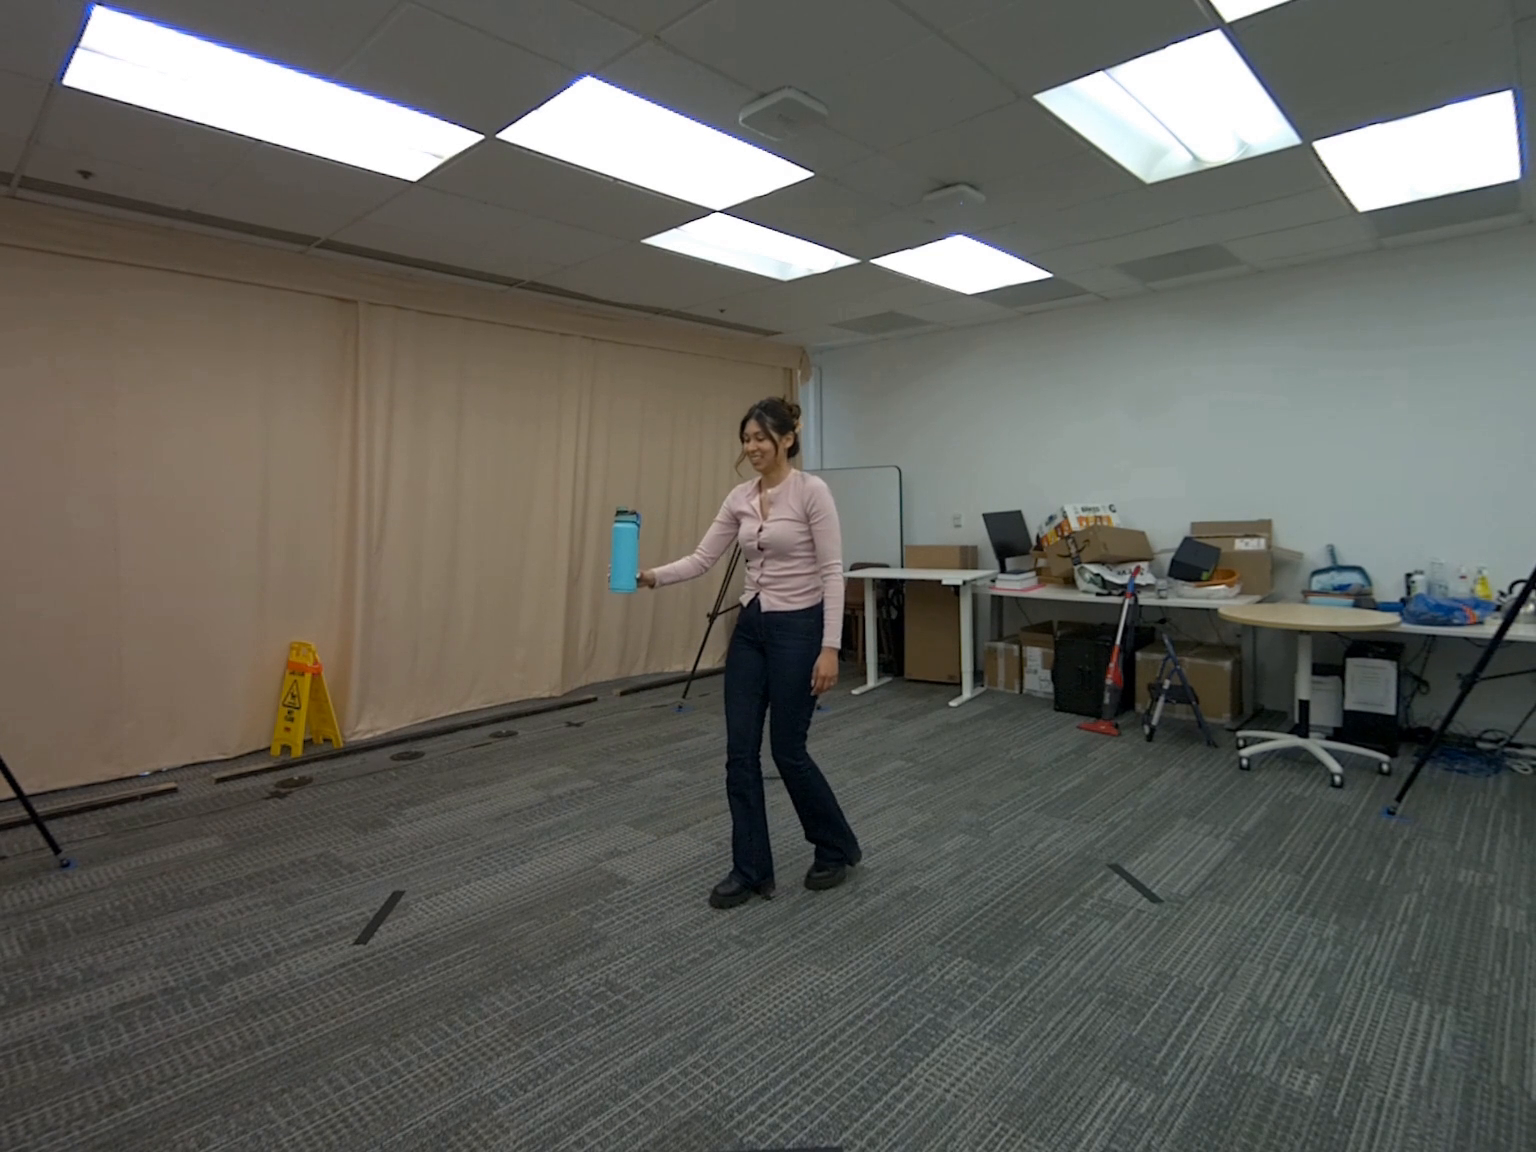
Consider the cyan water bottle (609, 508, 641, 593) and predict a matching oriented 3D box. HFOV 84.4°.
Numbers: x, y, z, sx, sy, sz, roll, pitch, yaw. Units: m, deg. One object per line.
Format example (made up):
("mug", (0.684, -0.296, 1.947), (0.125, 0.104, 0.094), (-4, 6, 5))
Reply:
("cyan water bottle", (-0.459, -0.087, 2.783), (0.092, 0.283, 0.092), (3, -1, -2))
